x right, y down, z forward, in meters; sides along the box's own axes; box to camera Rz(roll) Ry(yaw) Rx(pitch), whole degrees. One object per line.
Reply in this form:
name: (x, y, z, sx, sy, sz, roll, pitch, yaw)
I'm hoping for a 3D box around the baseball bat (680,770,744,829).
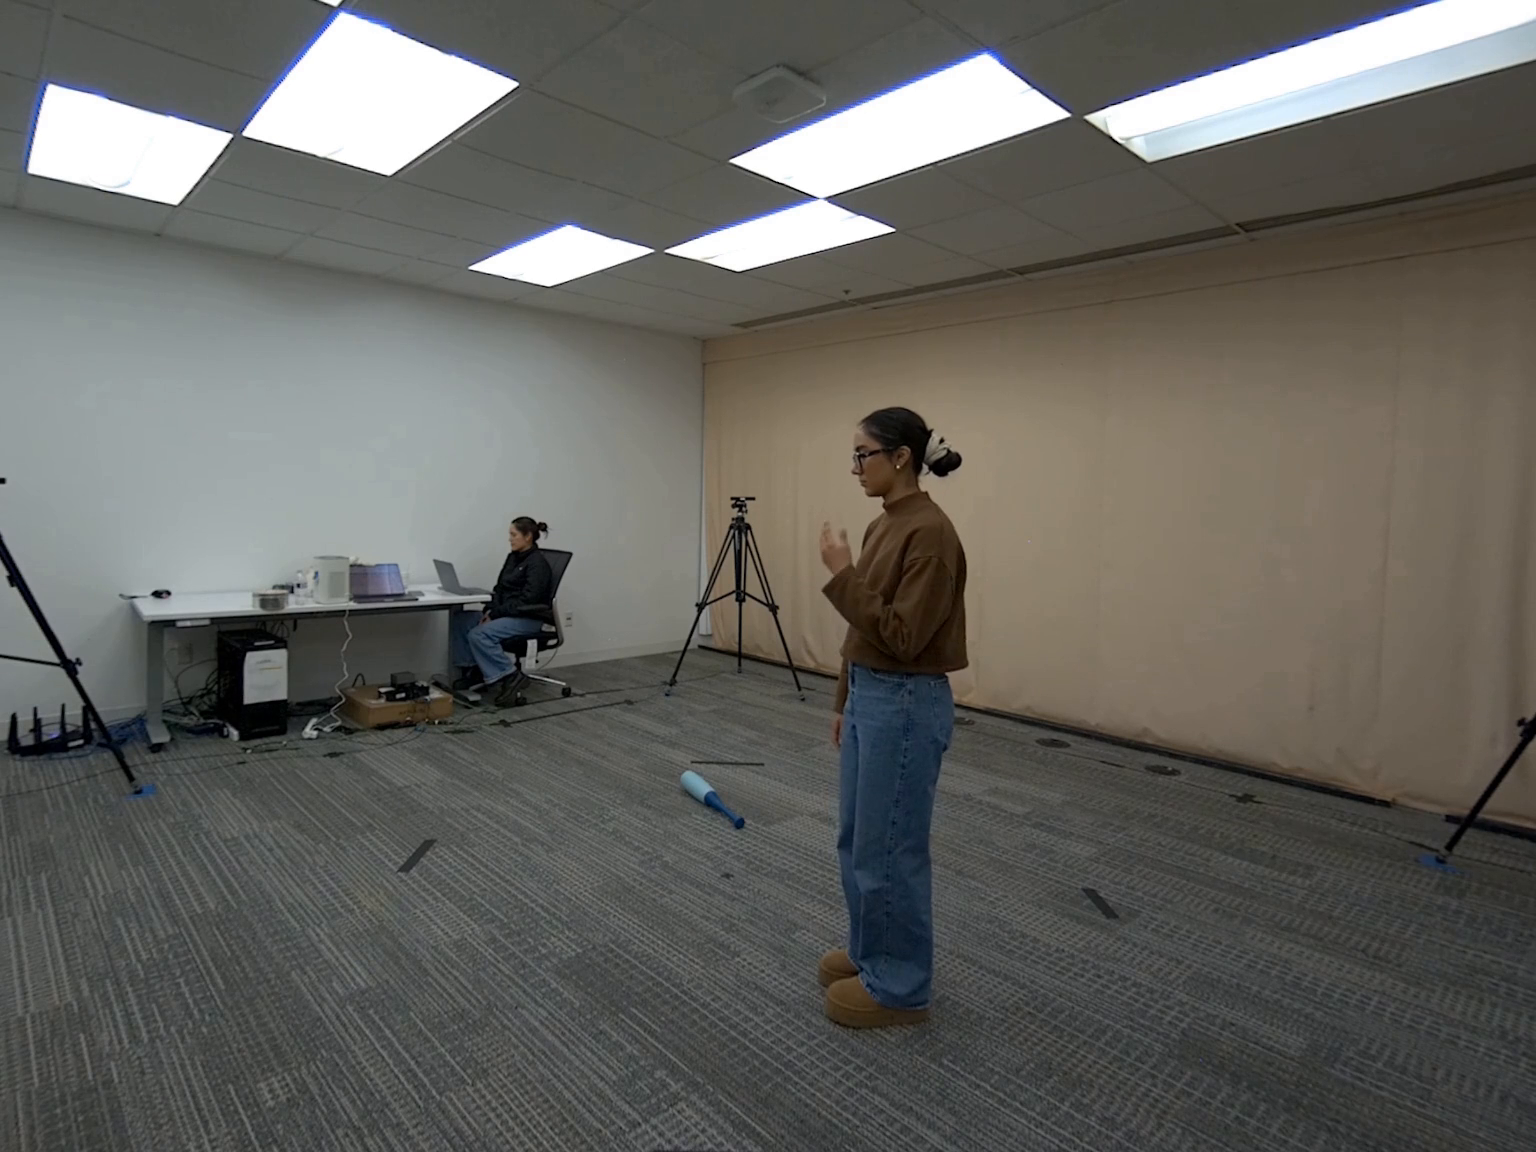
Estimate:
baseball bat: (-0.260, 1.013, 3.793, 0.087, 0.088, 0.556, -1, 9, -28)
